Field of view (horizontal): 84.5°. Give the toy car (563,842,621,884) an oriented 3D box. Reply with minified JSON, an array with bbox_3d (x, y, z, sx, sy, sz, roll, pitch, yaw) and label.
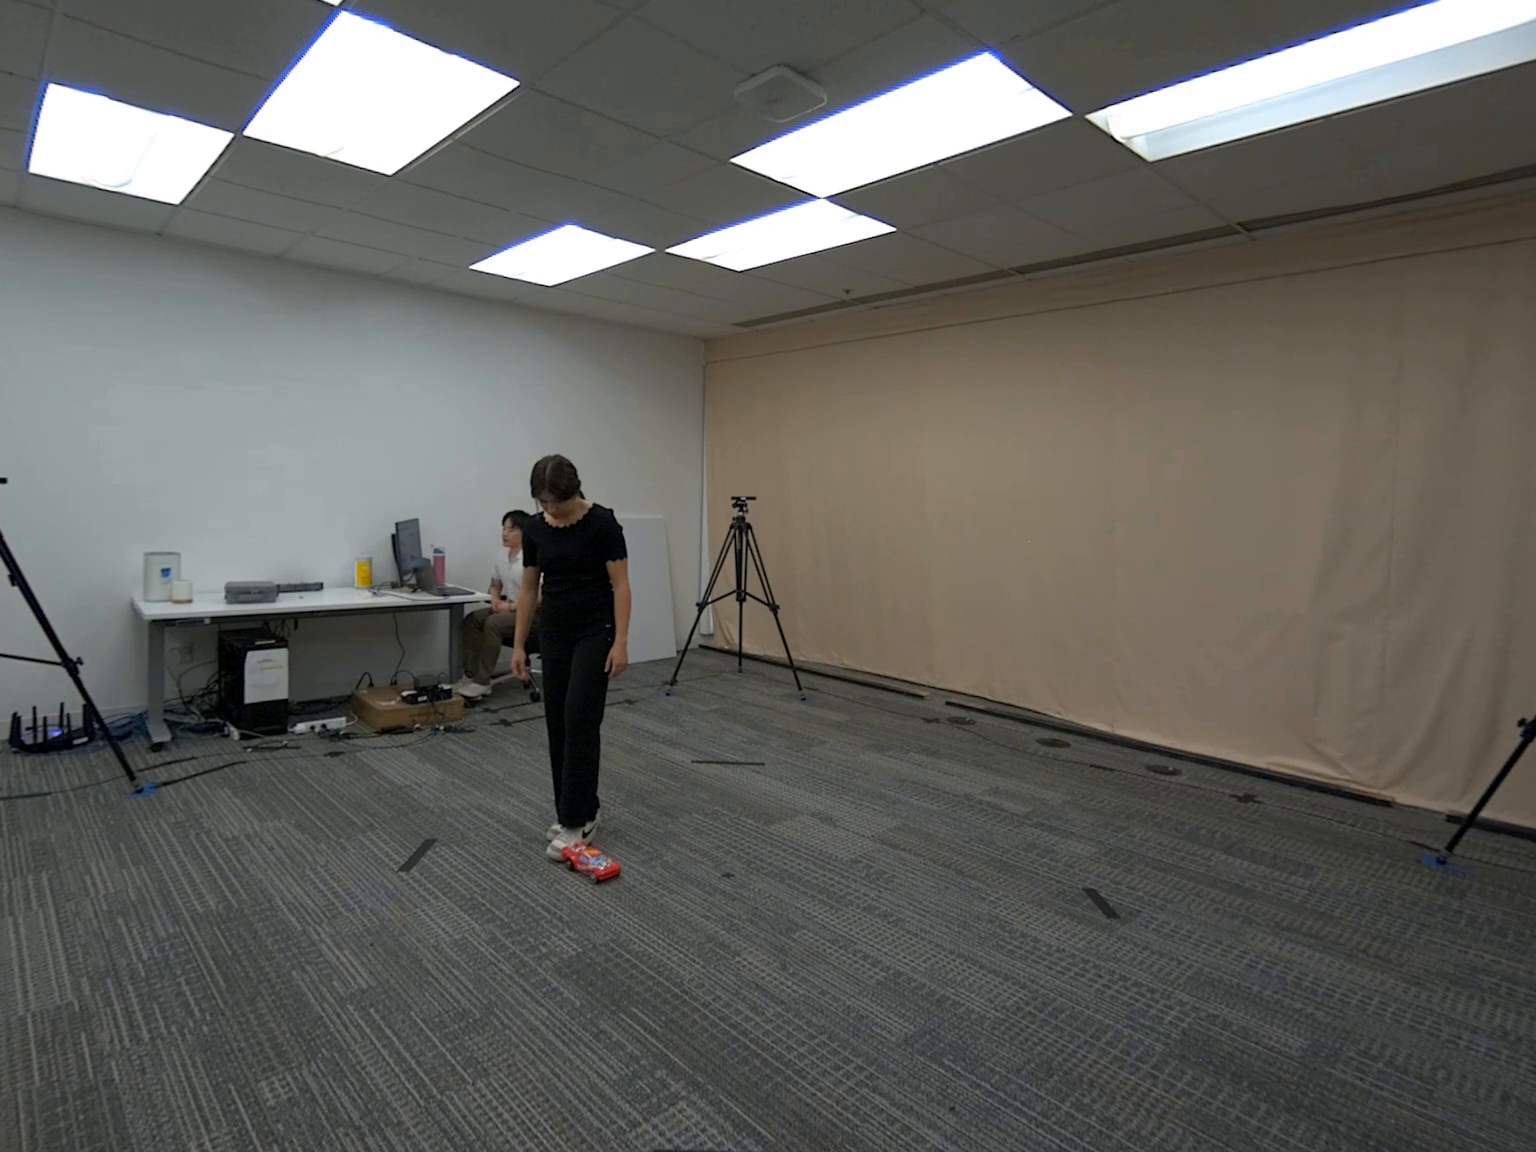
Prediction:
[{"bbox_3d":[-0.662,1.061,3.112,0.262,0.082,0.127,21,17,41],"label":"toy car"}]
